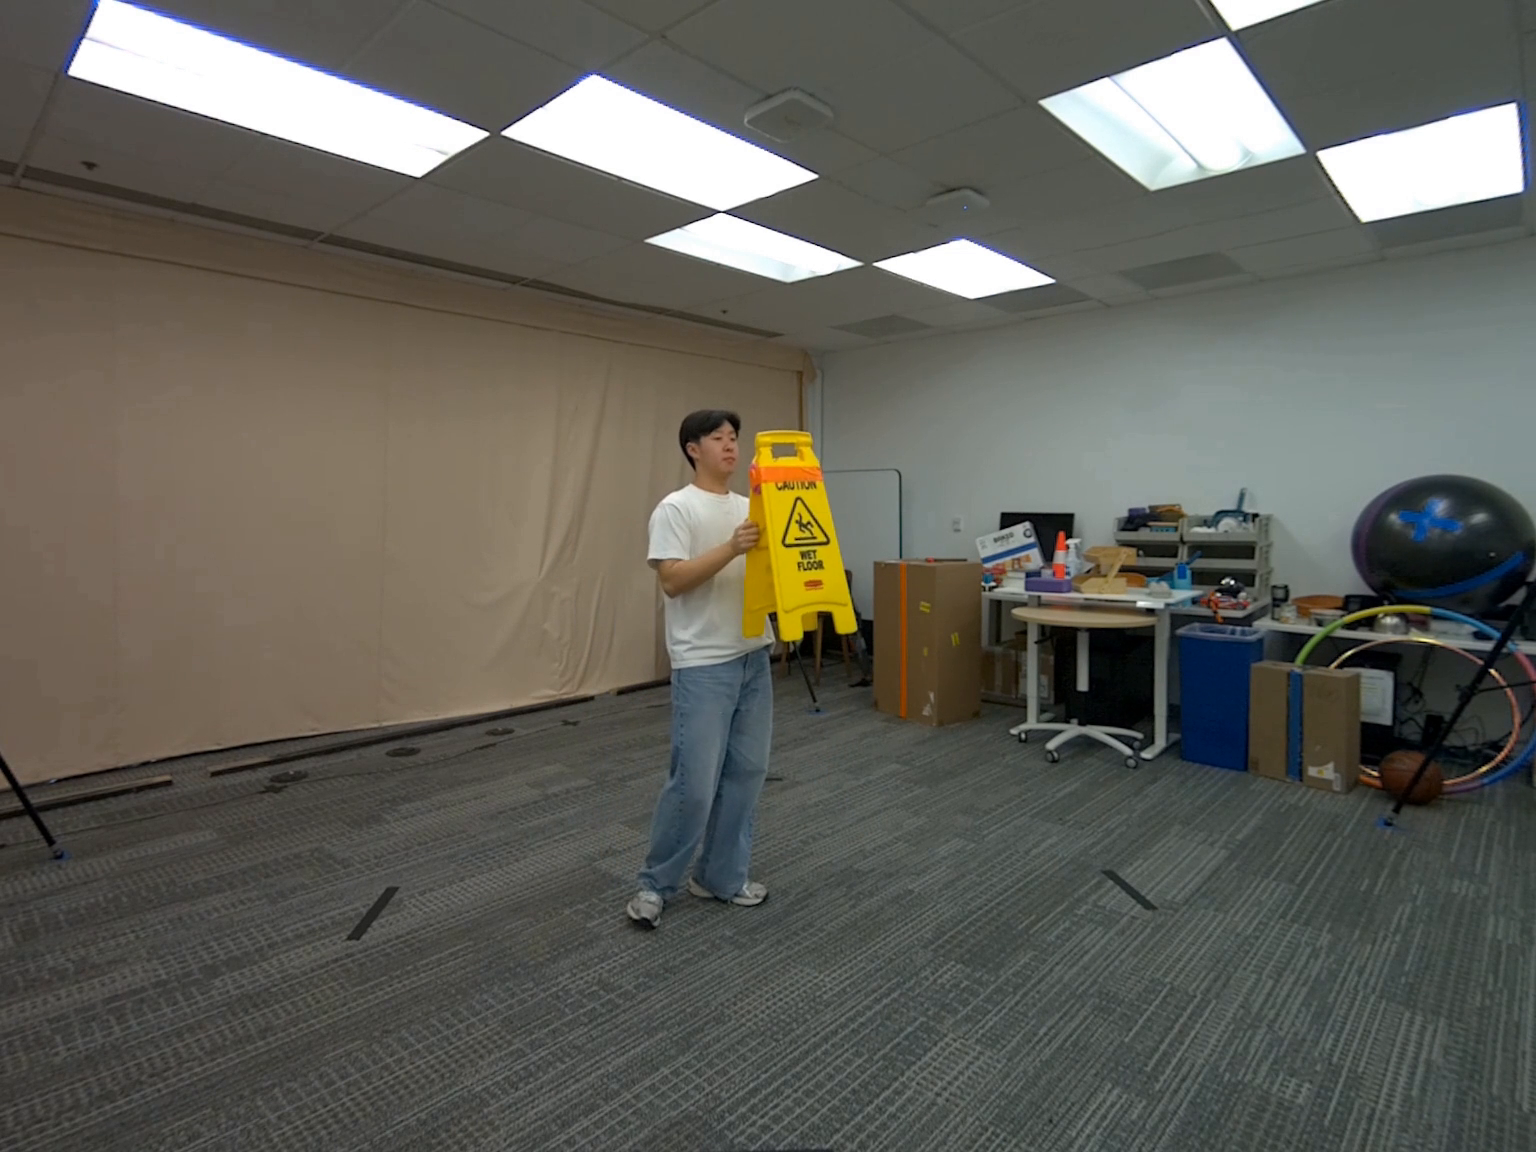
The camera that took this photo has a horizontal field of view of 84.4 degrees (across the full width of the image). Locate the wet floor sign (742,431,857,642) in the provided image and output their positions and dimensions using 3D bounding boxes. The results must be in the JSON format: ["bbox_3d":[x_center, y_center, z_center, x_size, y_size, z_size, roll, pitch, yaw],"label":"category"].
[{"bbox_3d":[0.076,-0.138,2.685,0.275,0.646,0.297,-5,0,-28],"label":"wet floor sign"}]
